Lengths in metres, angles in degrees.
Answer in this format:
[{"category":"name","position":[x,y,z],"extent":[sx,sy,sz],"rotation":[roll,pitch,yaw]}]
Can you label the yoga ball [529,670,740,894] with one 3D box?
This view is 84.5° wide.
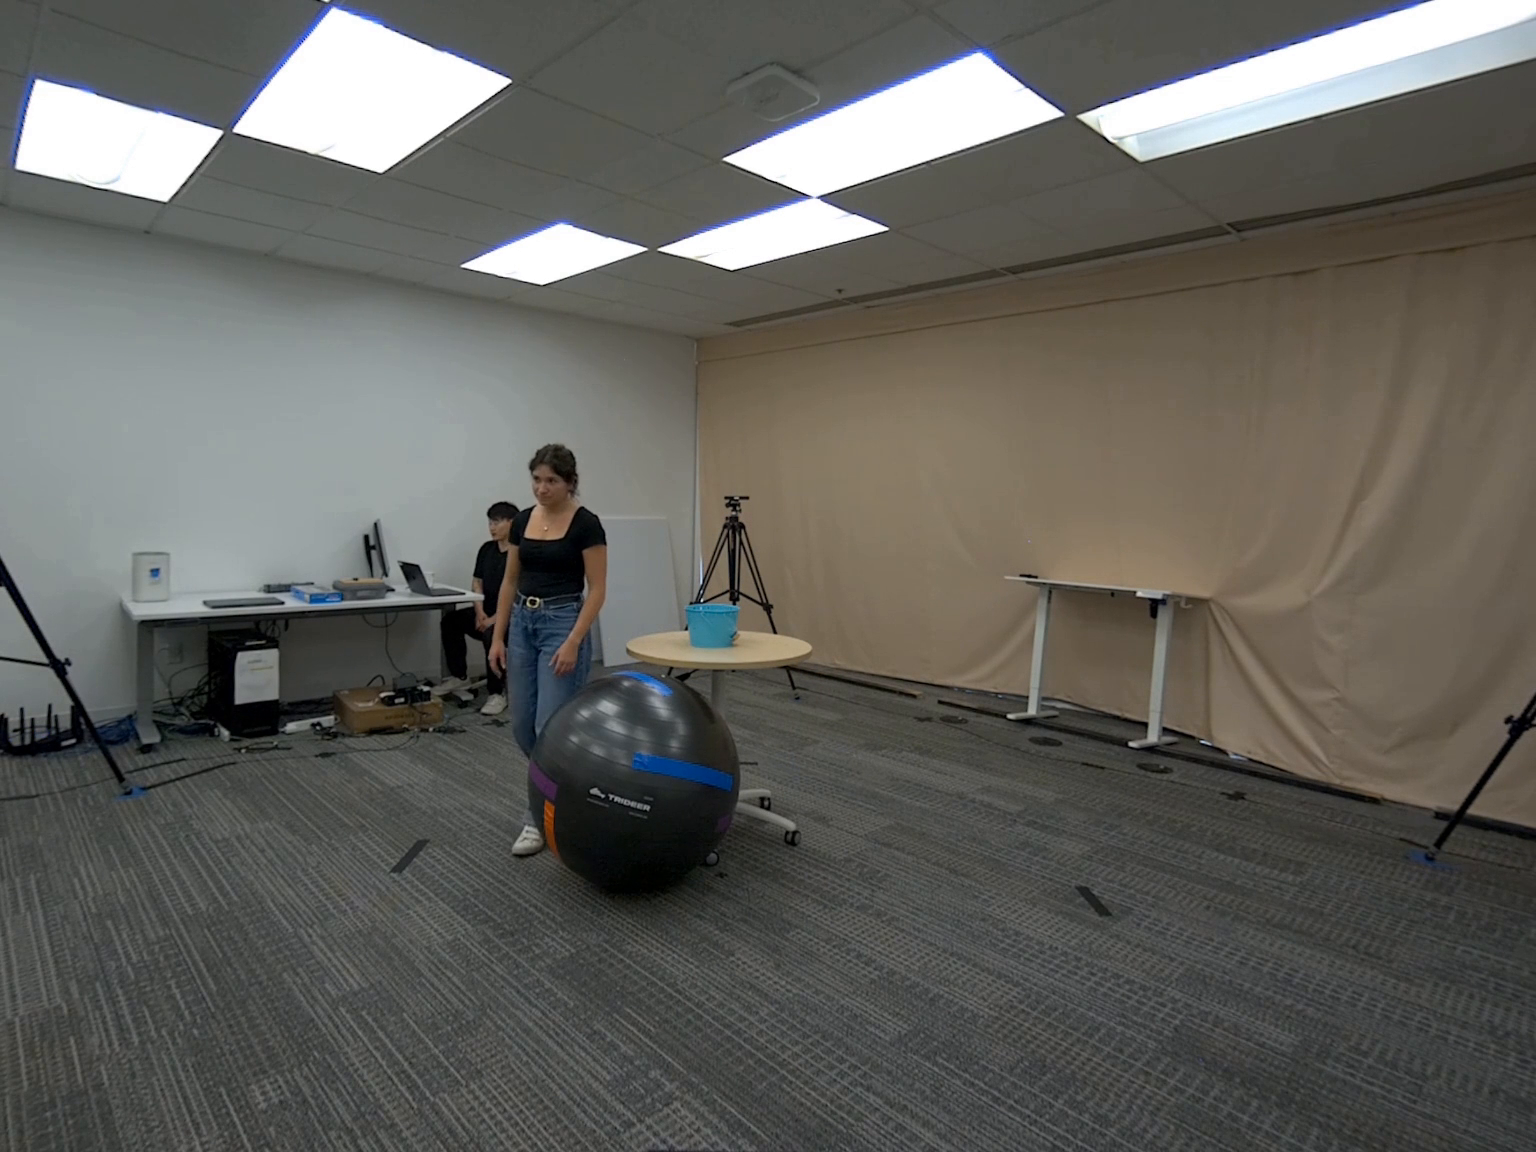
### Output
[{"category":"yoga ball","position":[-0.474,0.740,3.032],"extent":[0.757,0.756,0.761],"rotation":[1,4,-1]}]
